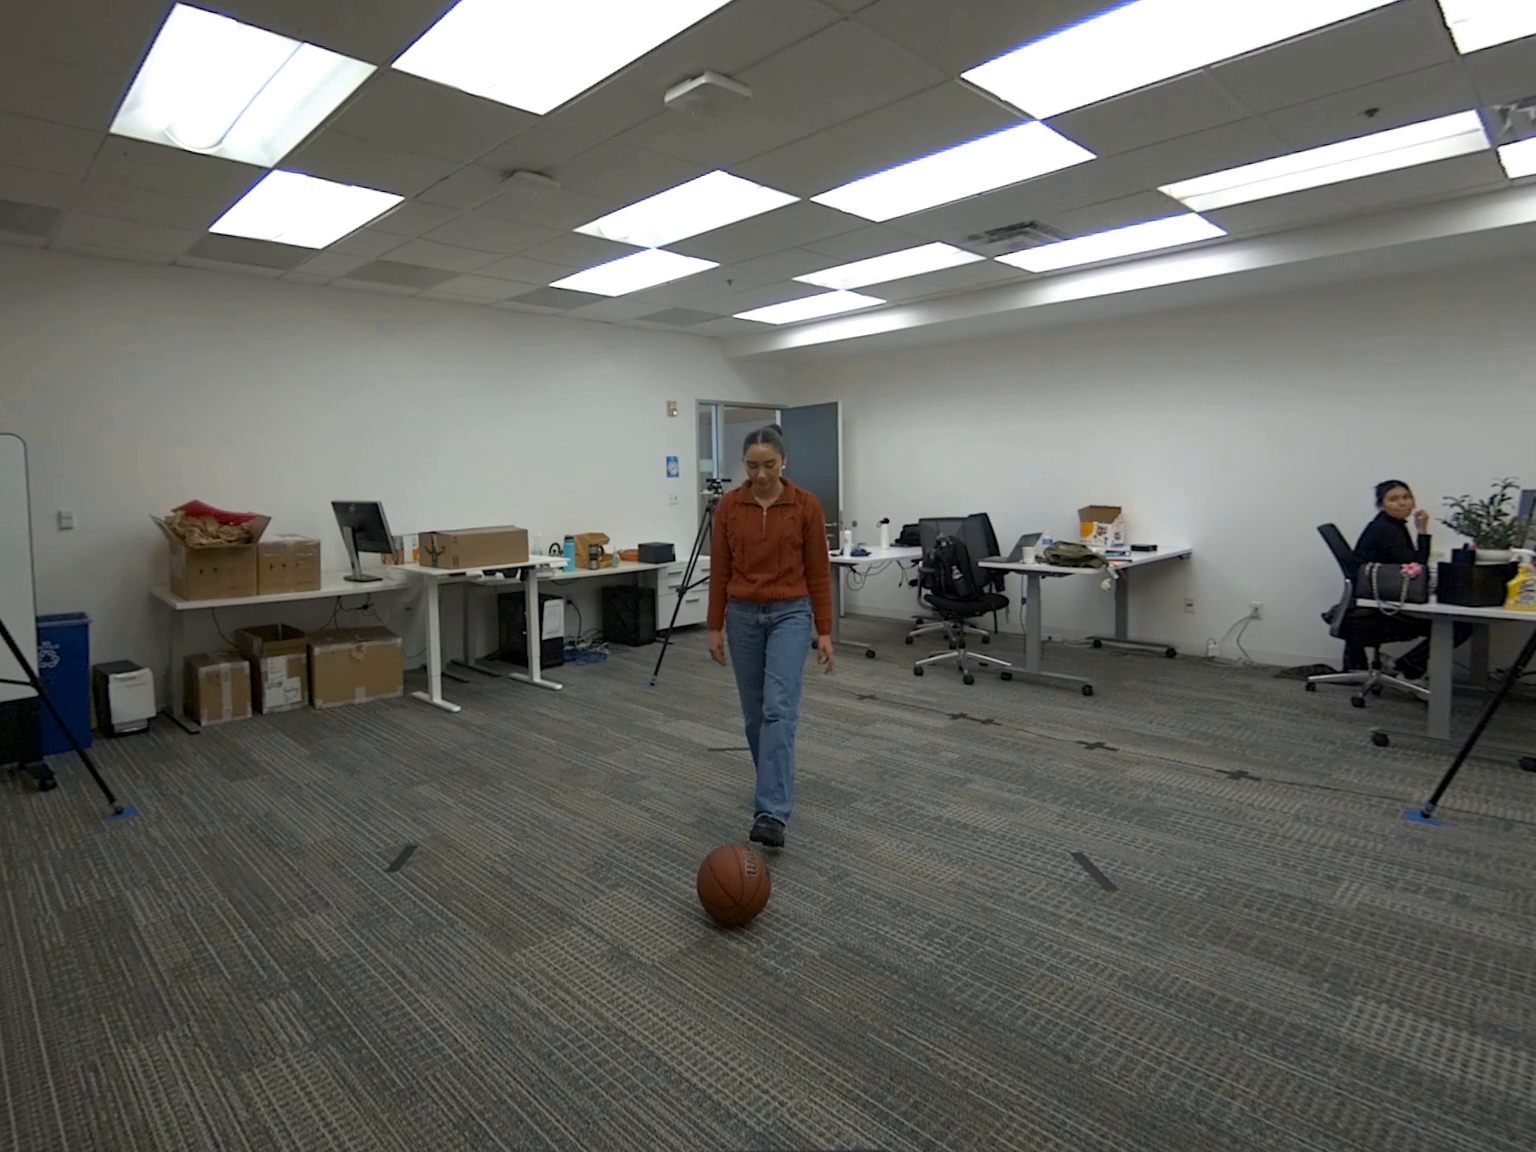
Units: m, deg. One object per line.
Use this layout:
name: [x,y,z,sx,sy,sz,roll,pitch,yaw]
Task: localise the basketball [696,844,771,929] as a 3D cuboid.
basketball: [-0.102,0.970,2.706,0.236,0.235,0.237,-1,5,-2]
